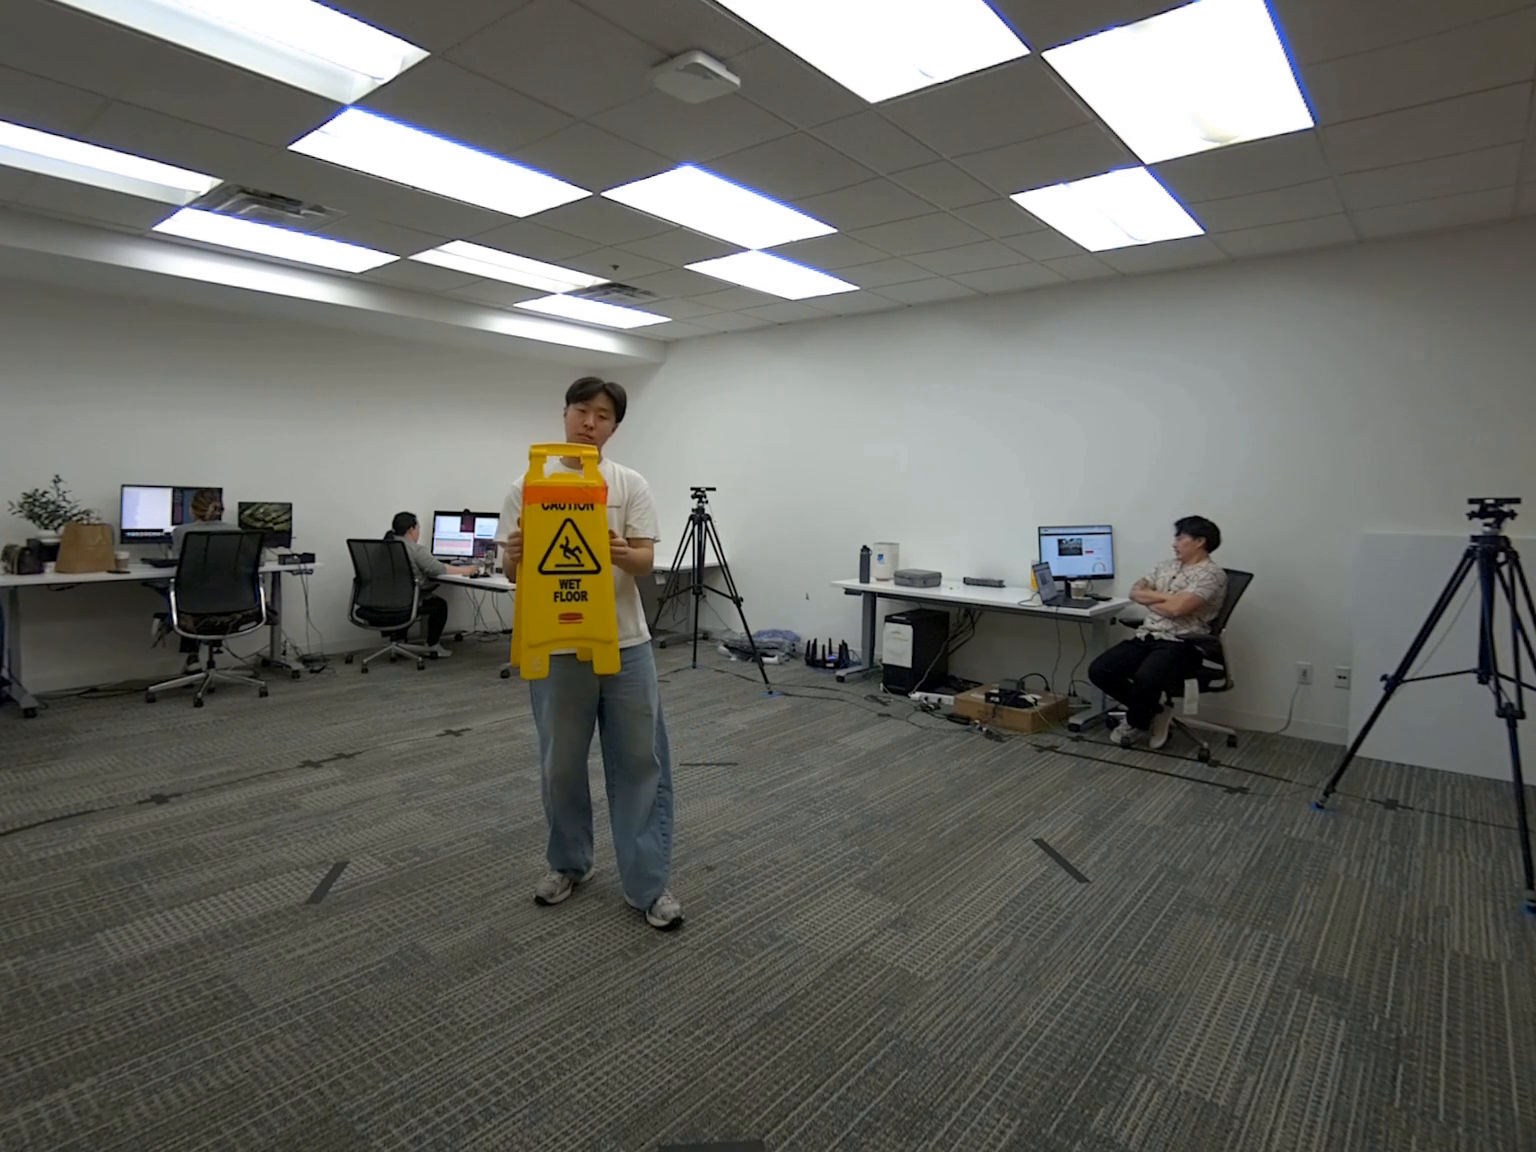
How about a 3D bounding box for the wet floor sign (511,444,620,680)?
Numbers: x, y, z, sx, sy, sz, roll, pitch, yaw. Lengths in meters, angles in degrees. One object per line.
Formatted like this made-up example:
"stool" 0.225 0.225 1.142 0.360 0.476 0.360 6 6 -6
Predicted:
"wet floor sign" -0.605 -0.062 2.457 0.276 0.645 0.296 -1 1 -23
